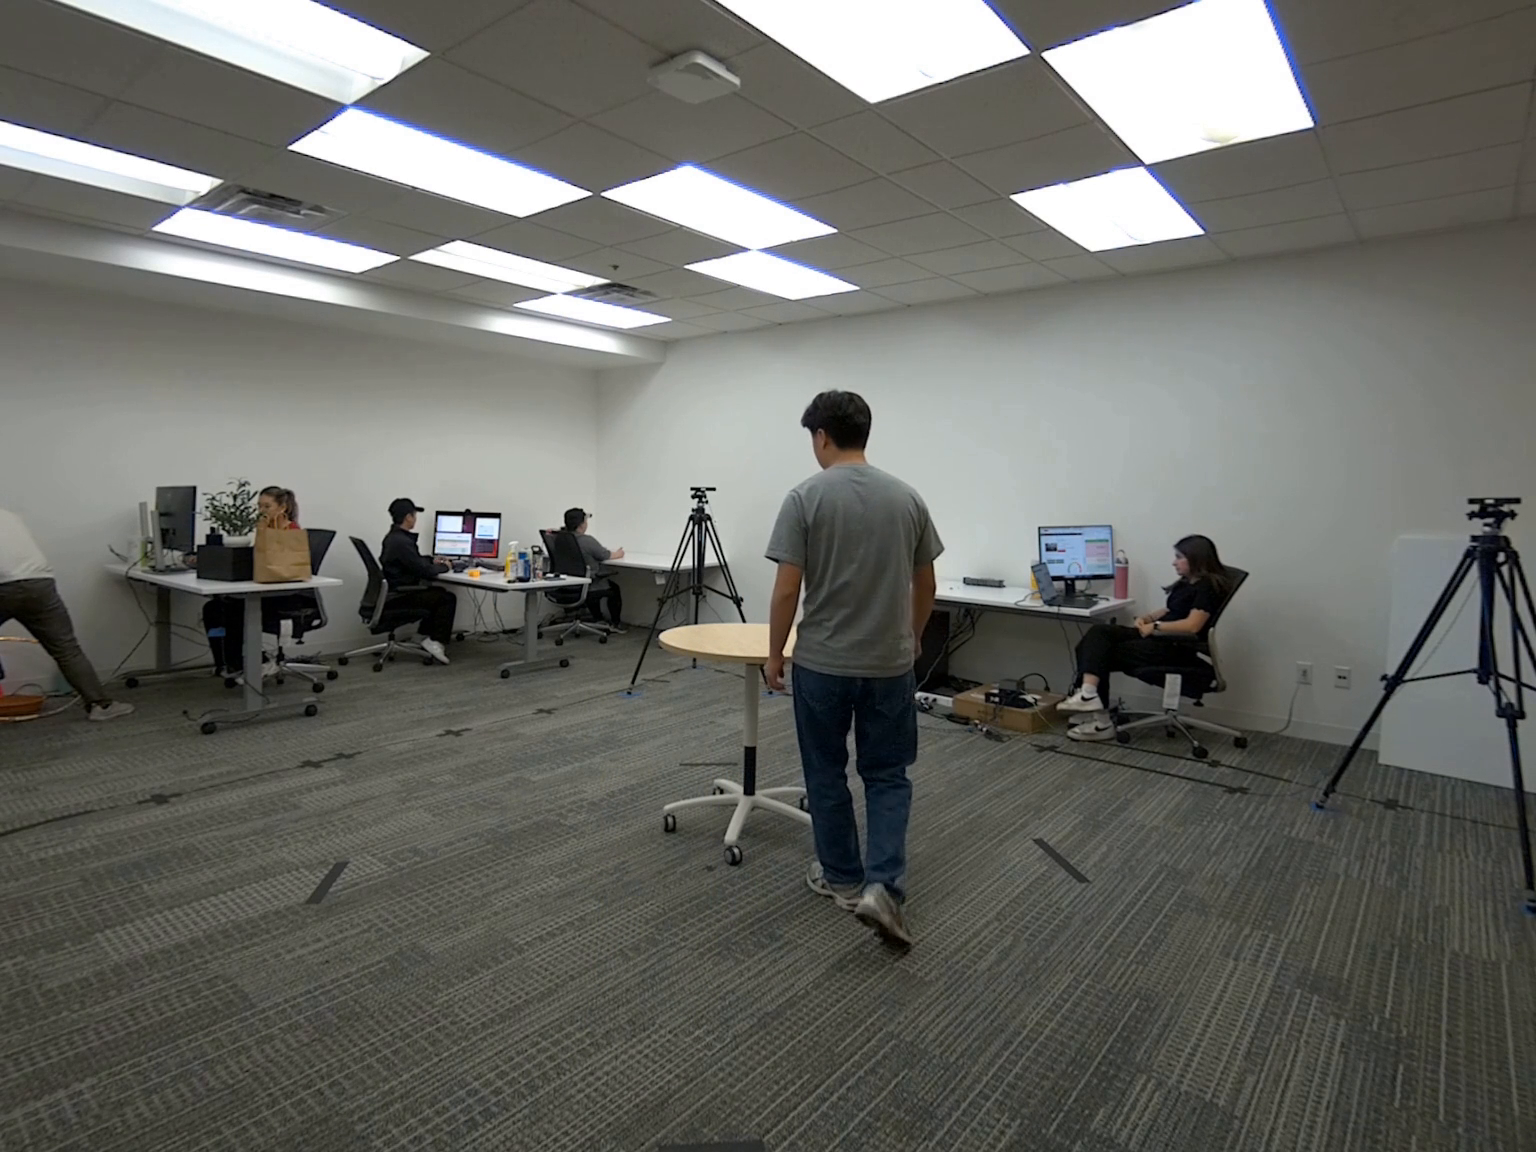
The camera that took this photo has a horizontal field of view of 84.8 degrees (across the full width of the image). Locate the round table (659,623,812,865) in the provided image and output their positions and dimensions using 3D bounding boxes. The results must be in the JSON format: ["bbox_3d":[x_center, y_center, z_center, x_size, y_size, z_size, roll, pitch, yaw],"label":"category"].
[{"bbox_3d":[-0.084,0.642,3.475,0.763,0.792,0.767,1,4,-2],"label":"round table"}]
